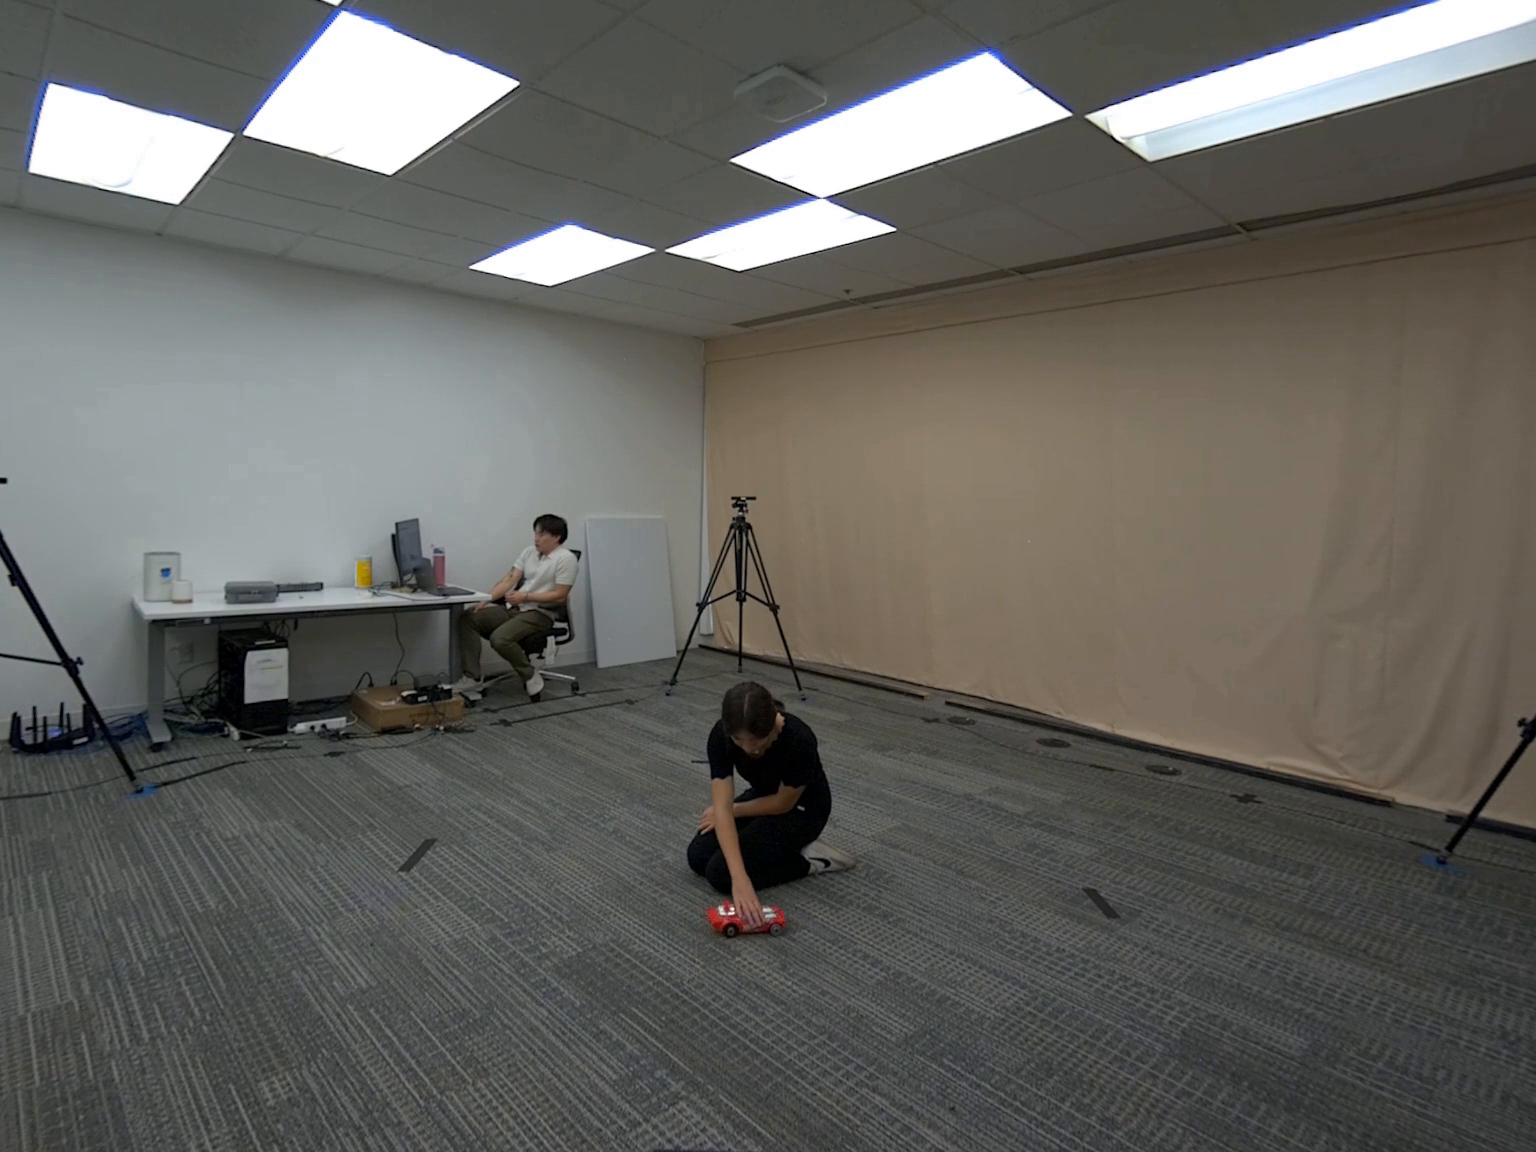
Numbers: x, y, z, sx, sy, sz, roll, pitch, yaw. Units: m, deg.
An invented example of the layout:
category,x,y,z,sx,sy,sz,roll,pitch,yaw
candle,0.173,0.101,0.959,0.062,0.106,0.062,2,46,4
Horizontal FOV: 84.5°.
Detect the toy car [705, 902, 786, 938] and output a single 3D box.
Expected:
category,x,y,z,sx,sy,sz,roll,pitch,yaw
toy car,-0.095,1.112,2.722,0.253,0.083,0.131,11,3,-8
